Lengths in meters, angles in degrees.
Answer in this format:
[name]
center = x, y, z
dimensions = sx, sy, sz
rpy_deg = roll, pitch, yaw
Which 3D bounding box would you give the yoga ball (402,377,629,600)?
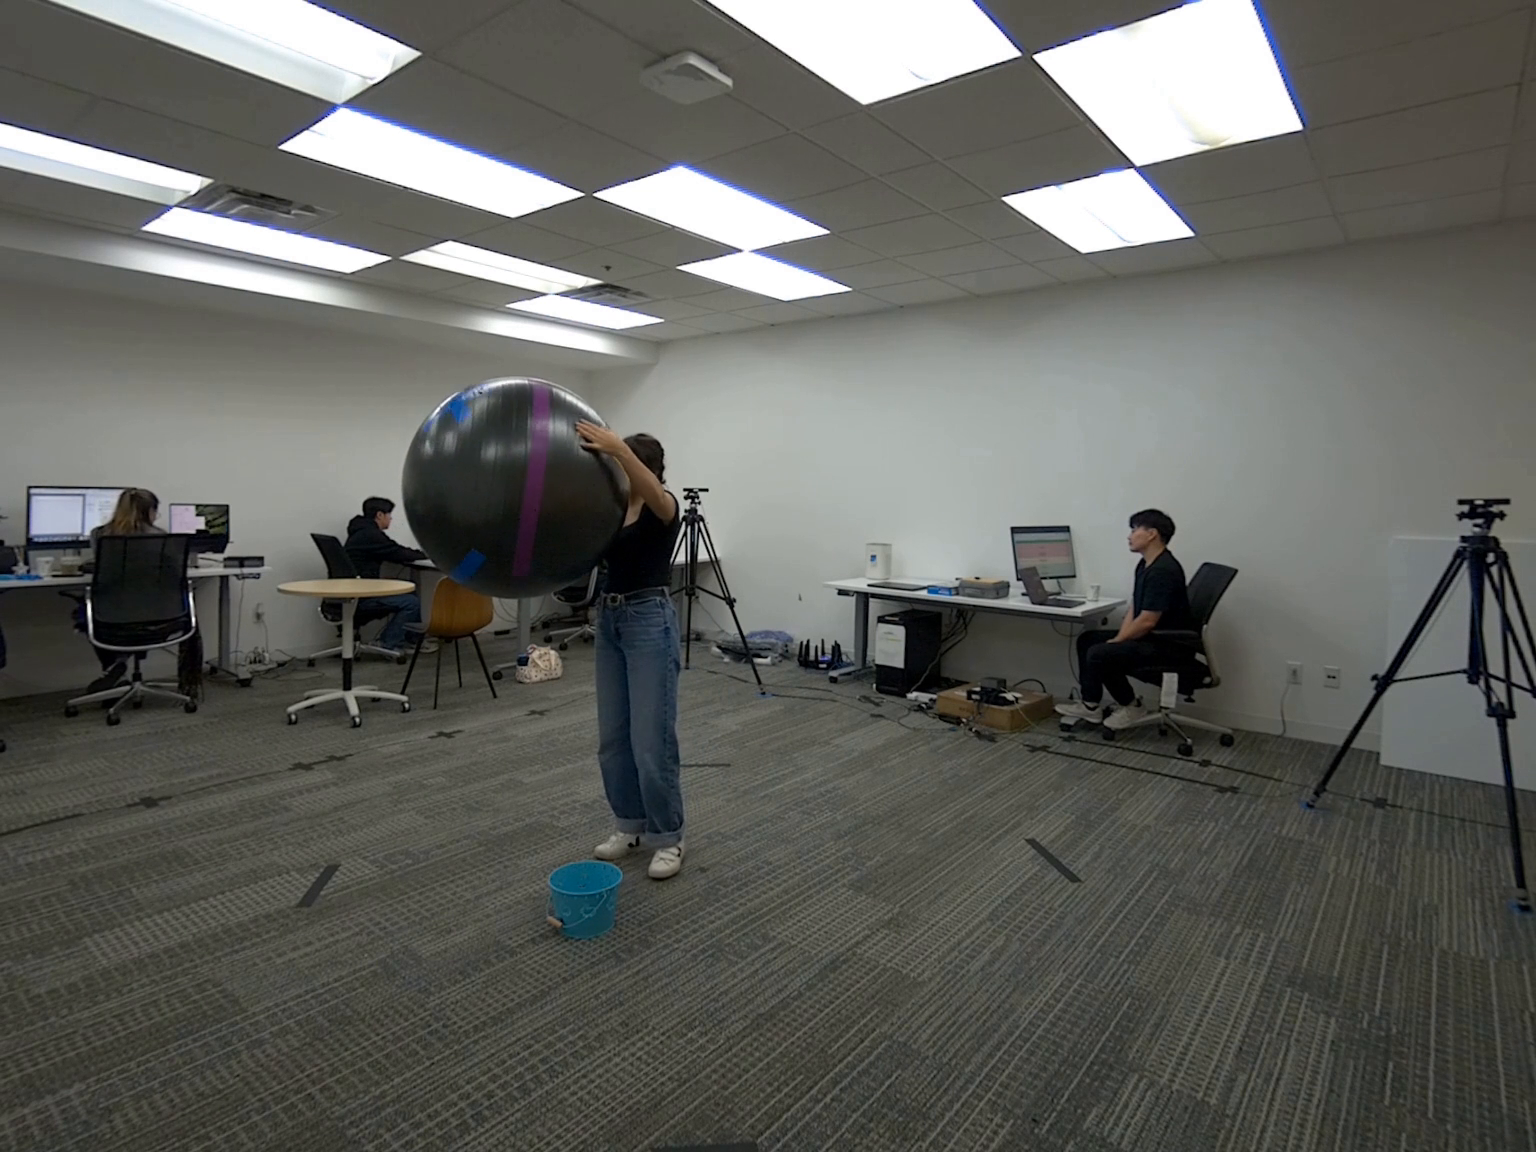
[yoga ball]
center = -0.880, -0.297, 2.921
dimensions = 0.757, 0.755, 0.762
rpy_deg = 1, 4, -2
